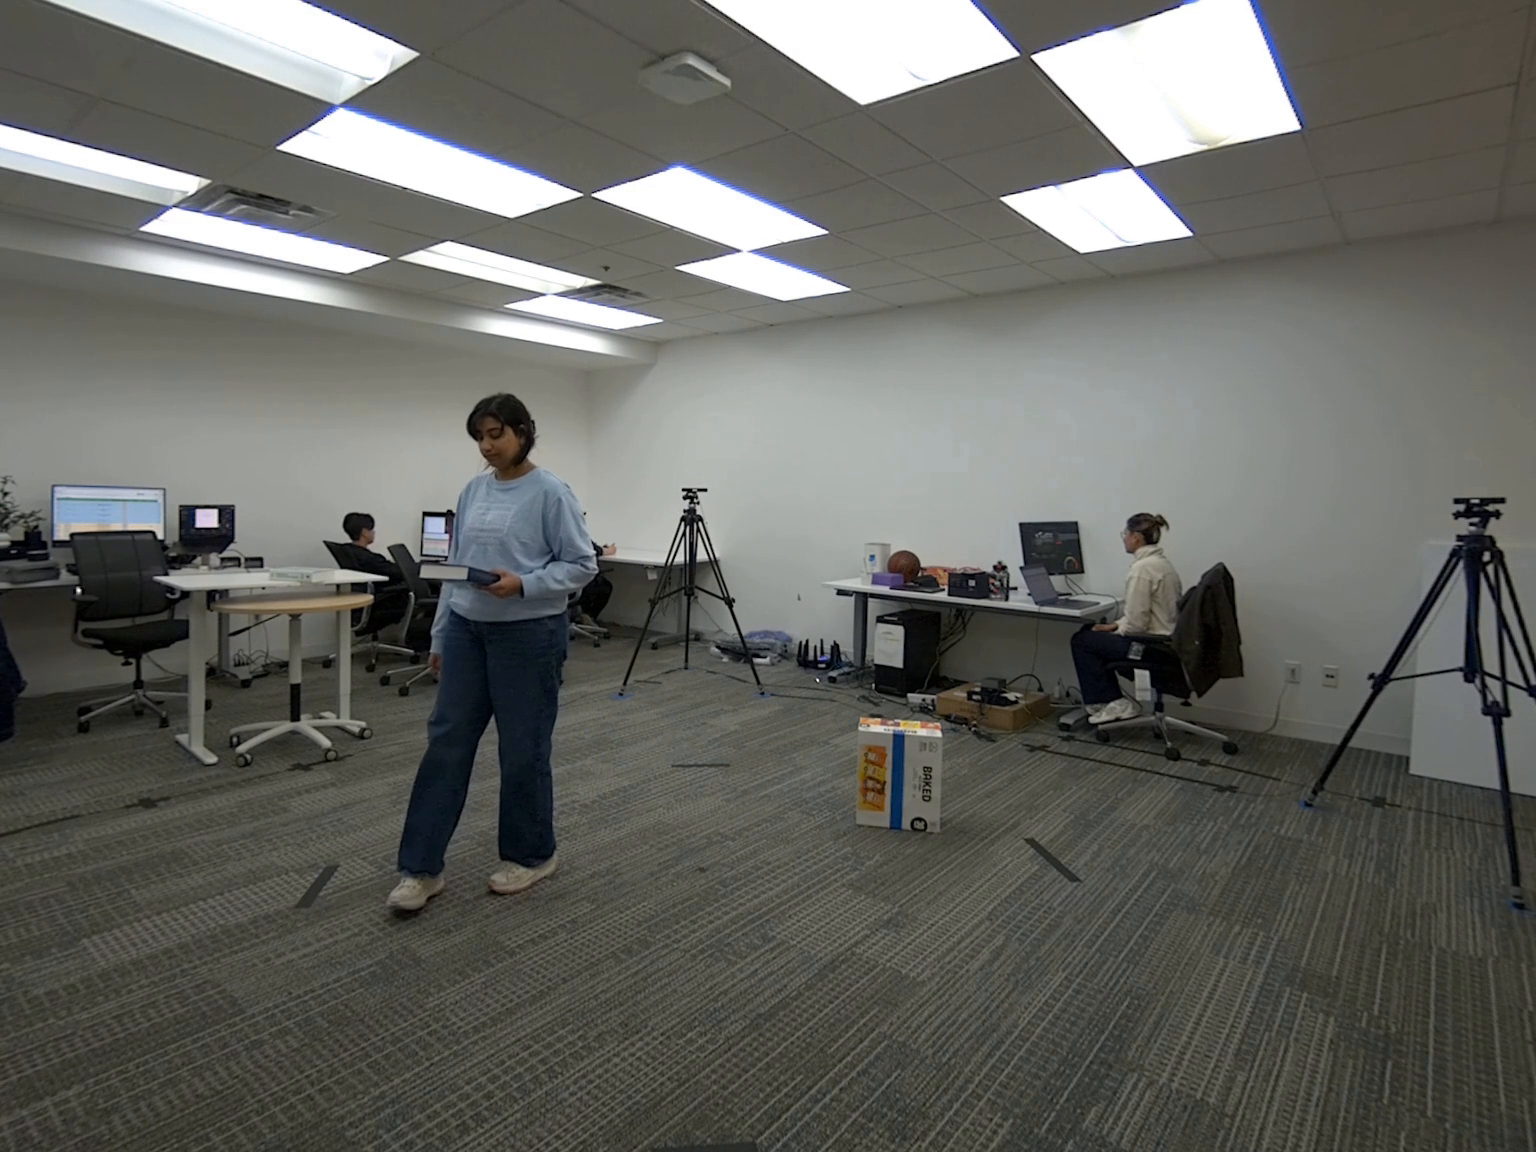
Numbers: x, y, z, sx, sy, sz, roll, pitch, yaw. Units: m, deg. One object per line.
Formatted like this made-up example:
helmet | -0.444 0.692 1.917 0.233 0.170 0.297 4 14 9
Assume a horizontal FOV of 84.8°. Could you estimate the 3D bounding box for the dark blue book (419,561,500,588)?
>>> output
dark blue book | -0.952 -0.008 2.638 0.164 0.045 0.243 4 -4 1
